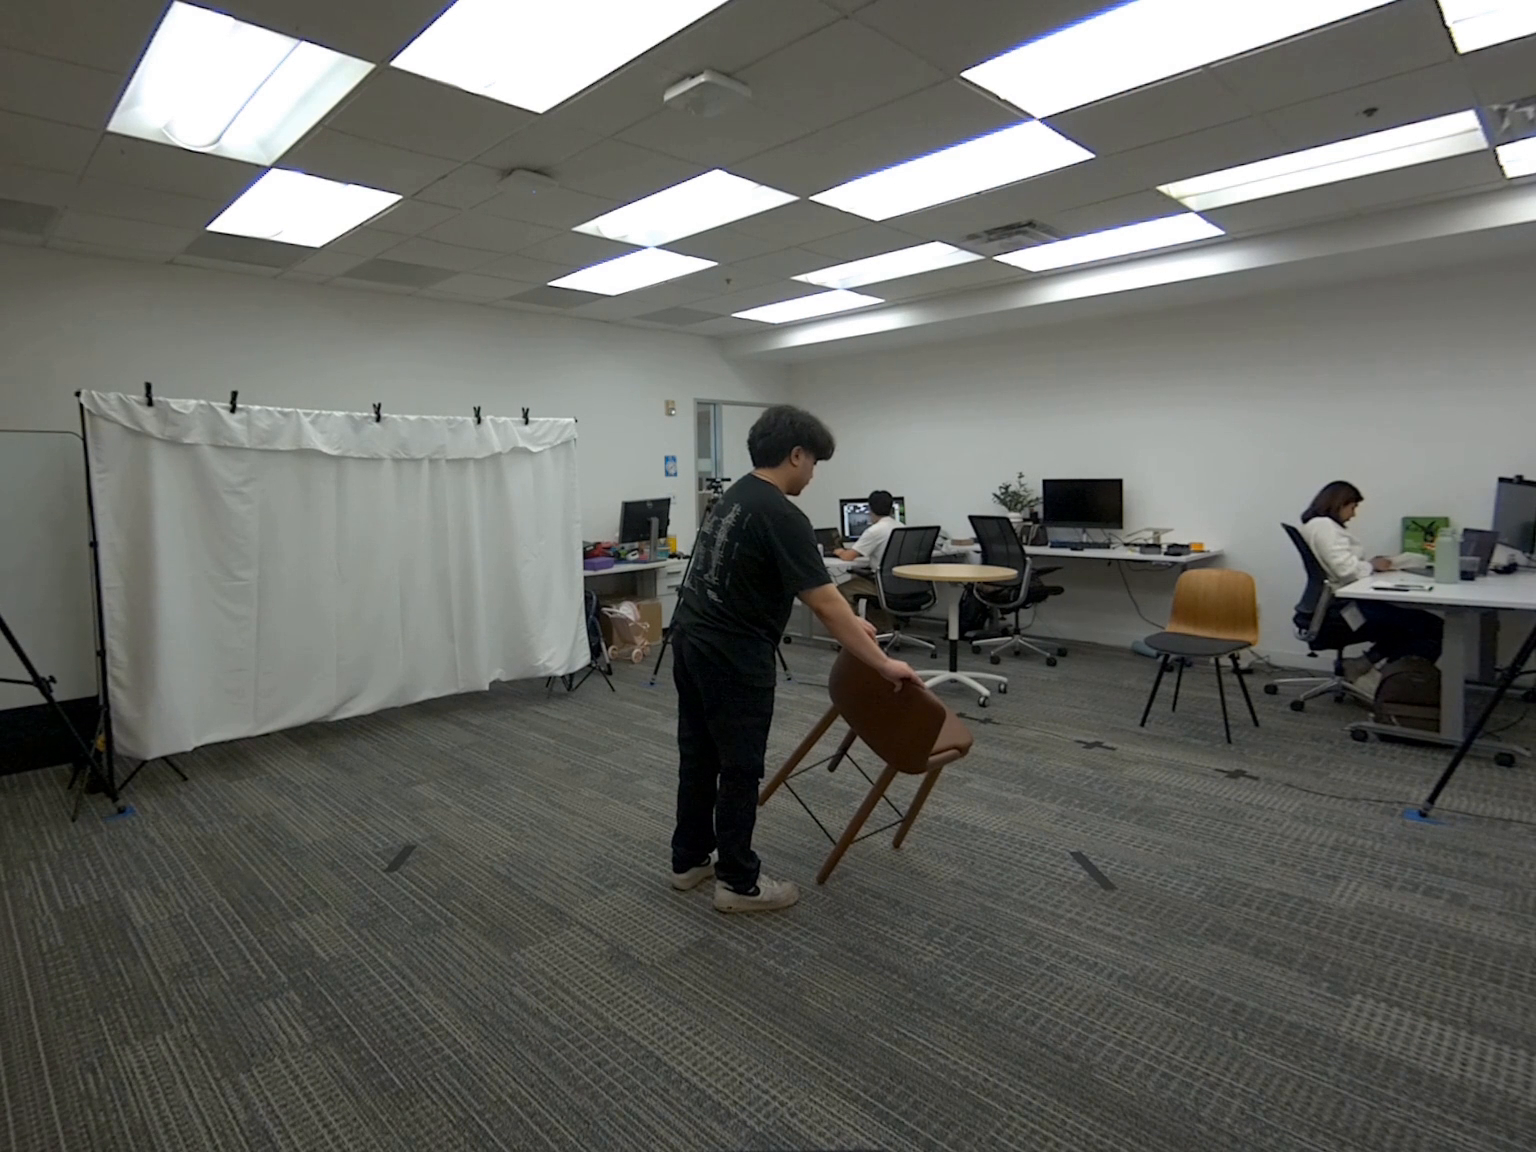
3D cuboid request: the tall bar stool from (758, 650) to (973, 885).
[{"bbox_3d":[0.385,0.582,2.970,0.456,0.879,0.473,-9,43,-43],"label":"tall bar stool"}]
